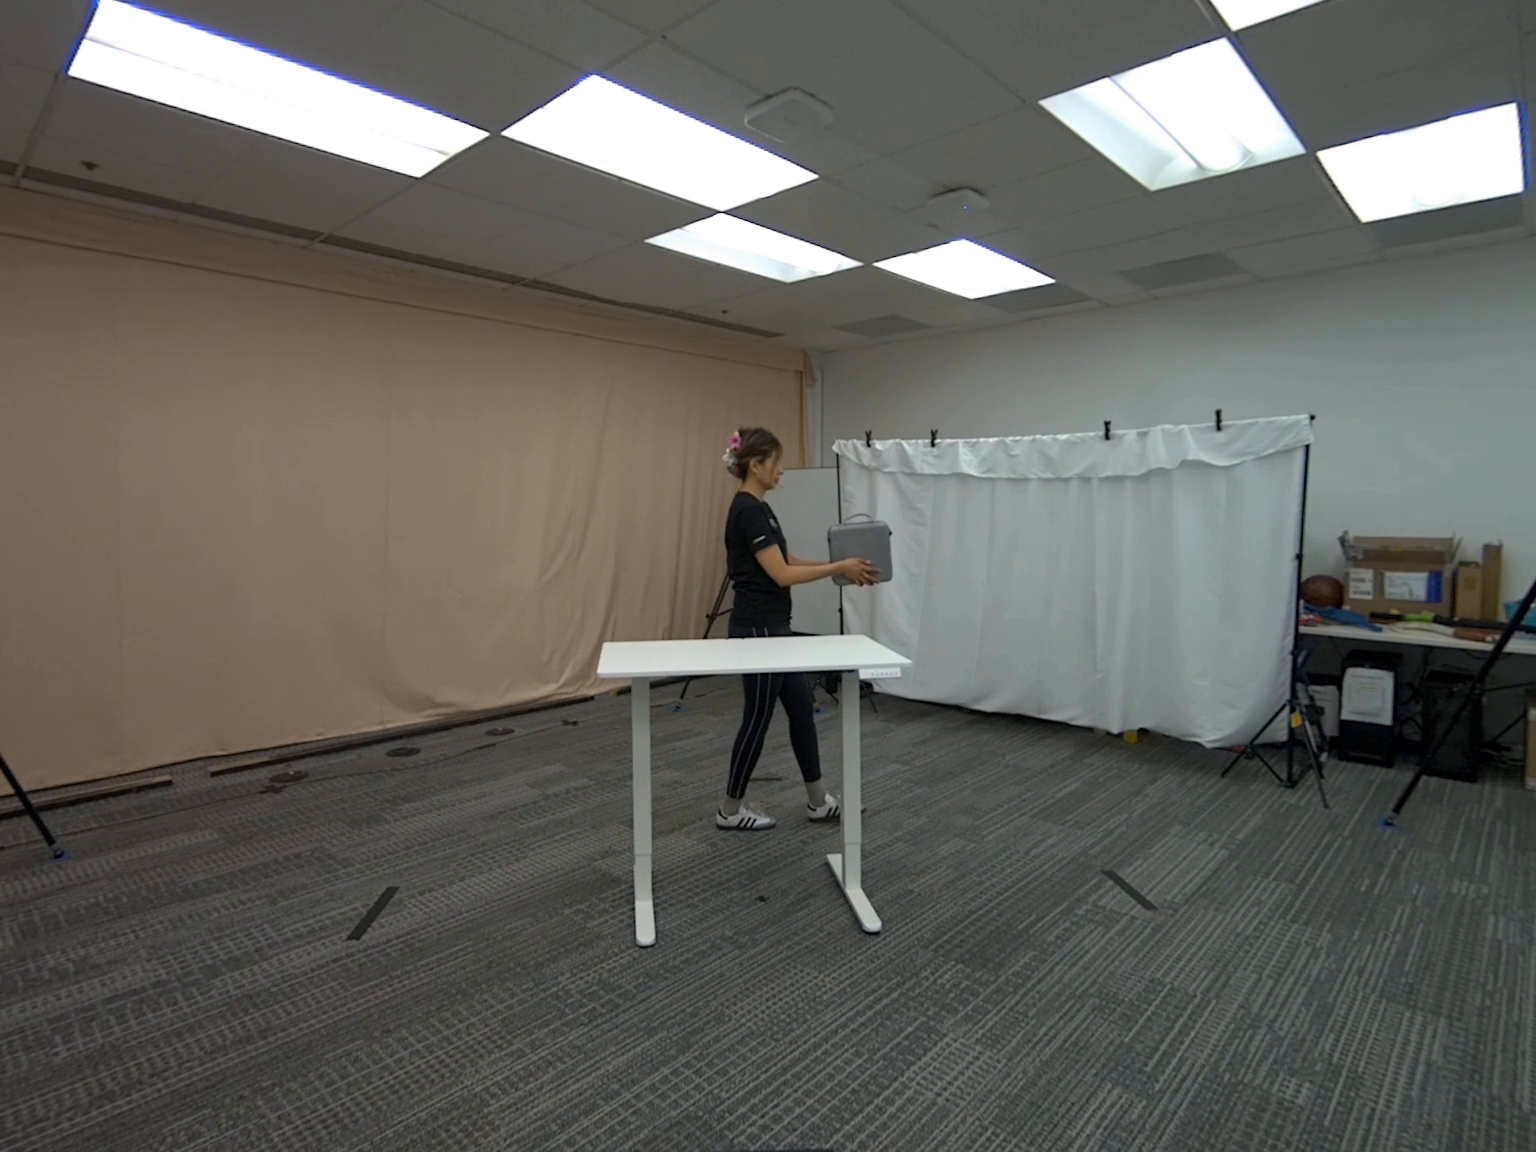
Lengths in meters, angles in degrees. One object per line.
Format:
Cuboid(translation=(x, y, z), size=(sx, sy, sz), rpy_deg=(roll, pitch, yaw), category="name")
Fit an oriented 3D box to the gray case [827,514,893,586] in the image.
Cuboid(translation=(0.398, -0.103, 3.533), size=(0.258, 0.259, 0.104), rpy_deg=(-6, 9, 4), category="gray case")
